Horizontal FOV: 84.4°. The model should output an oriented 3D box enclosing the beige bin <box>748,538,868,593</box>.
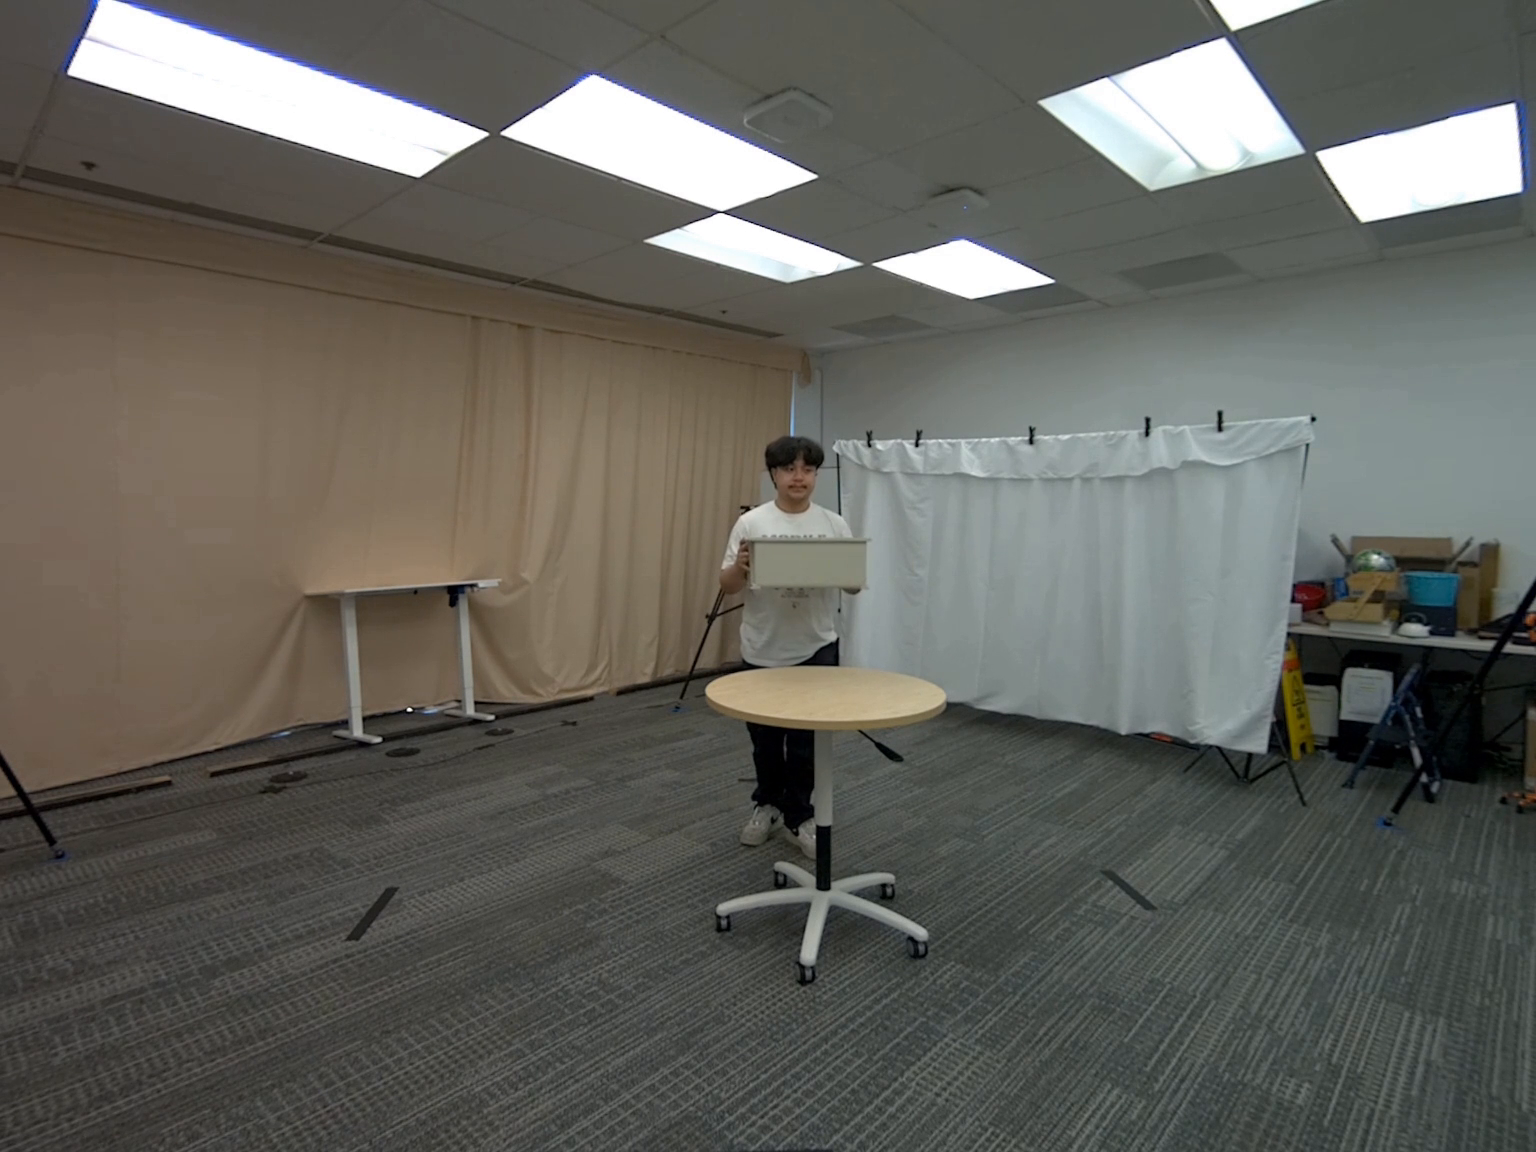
[{"bbox_3d":[0.131,-0.037,3.072,0.421,0.189,0.379,-1,2,-4],"label":"beige bin"}]
